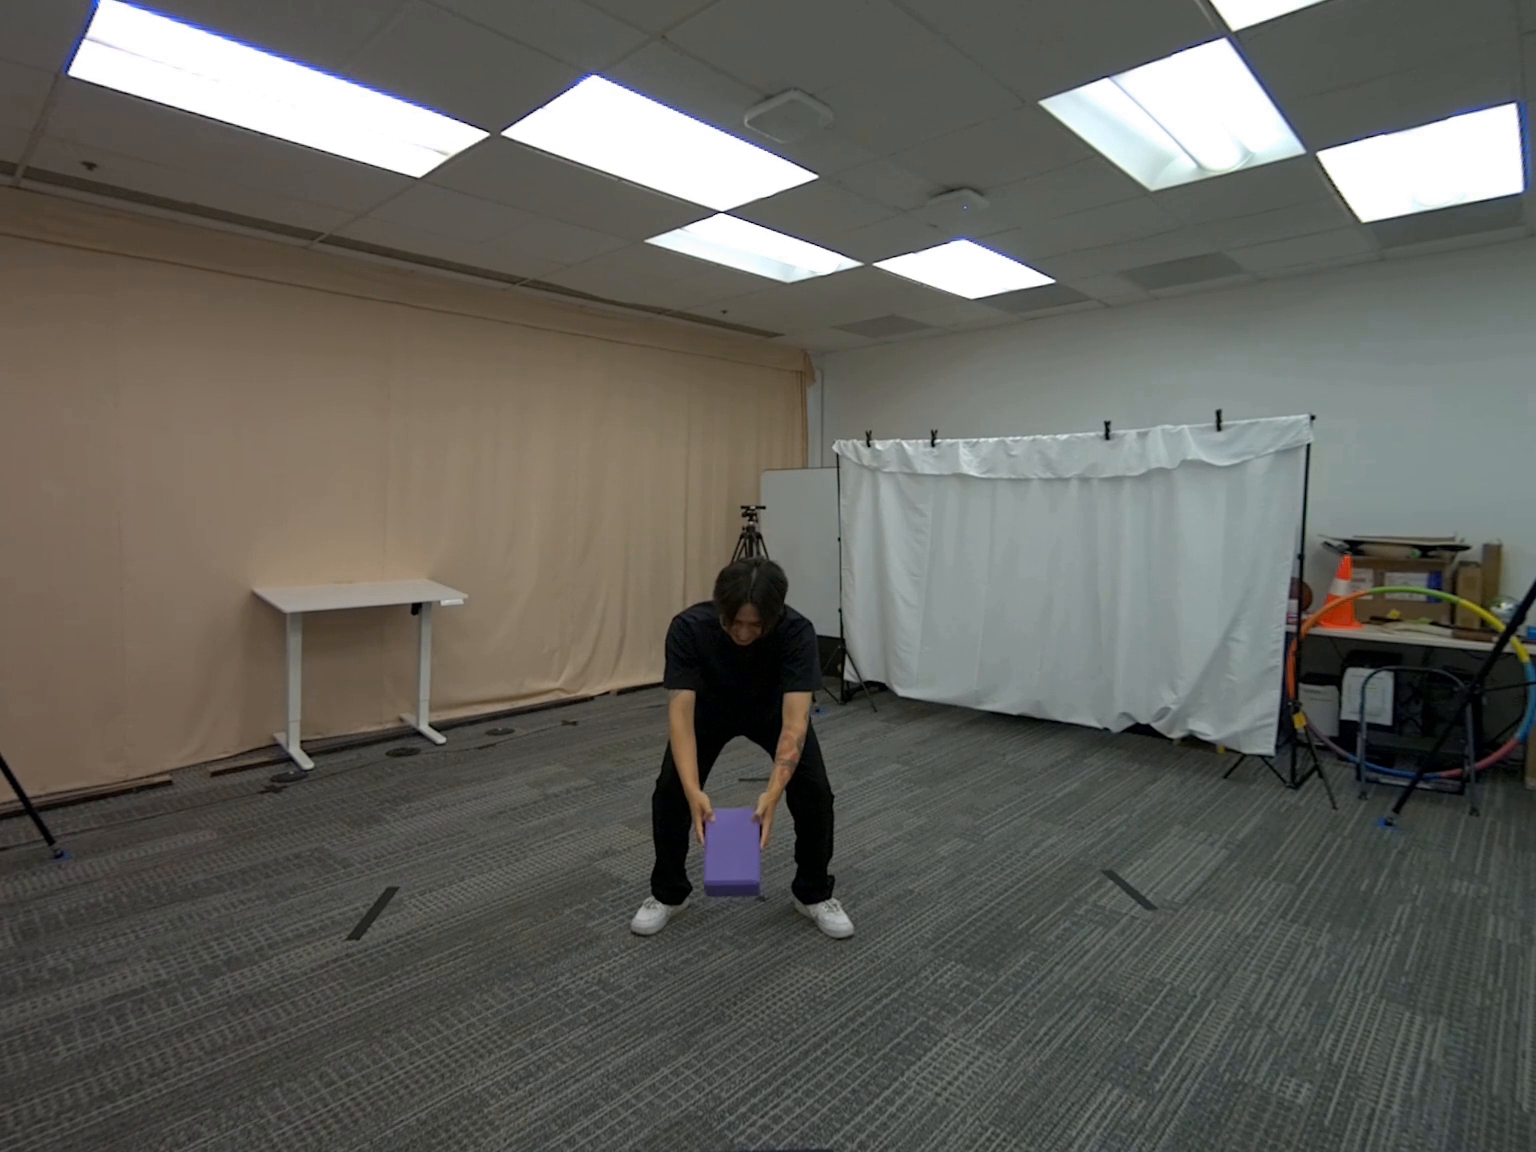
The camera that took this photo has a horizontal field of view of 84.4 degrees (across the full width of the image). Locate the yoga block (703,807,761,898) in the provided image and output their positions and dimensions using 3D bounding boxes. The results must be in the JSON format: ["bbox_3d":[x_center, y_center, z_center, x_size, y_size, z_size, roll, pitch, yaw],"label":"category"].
[{"bbox_3d":[-0.085,0.740,2.278,0.150,0.075,0.233,-3,41,5],"label":"yoga block"}]
